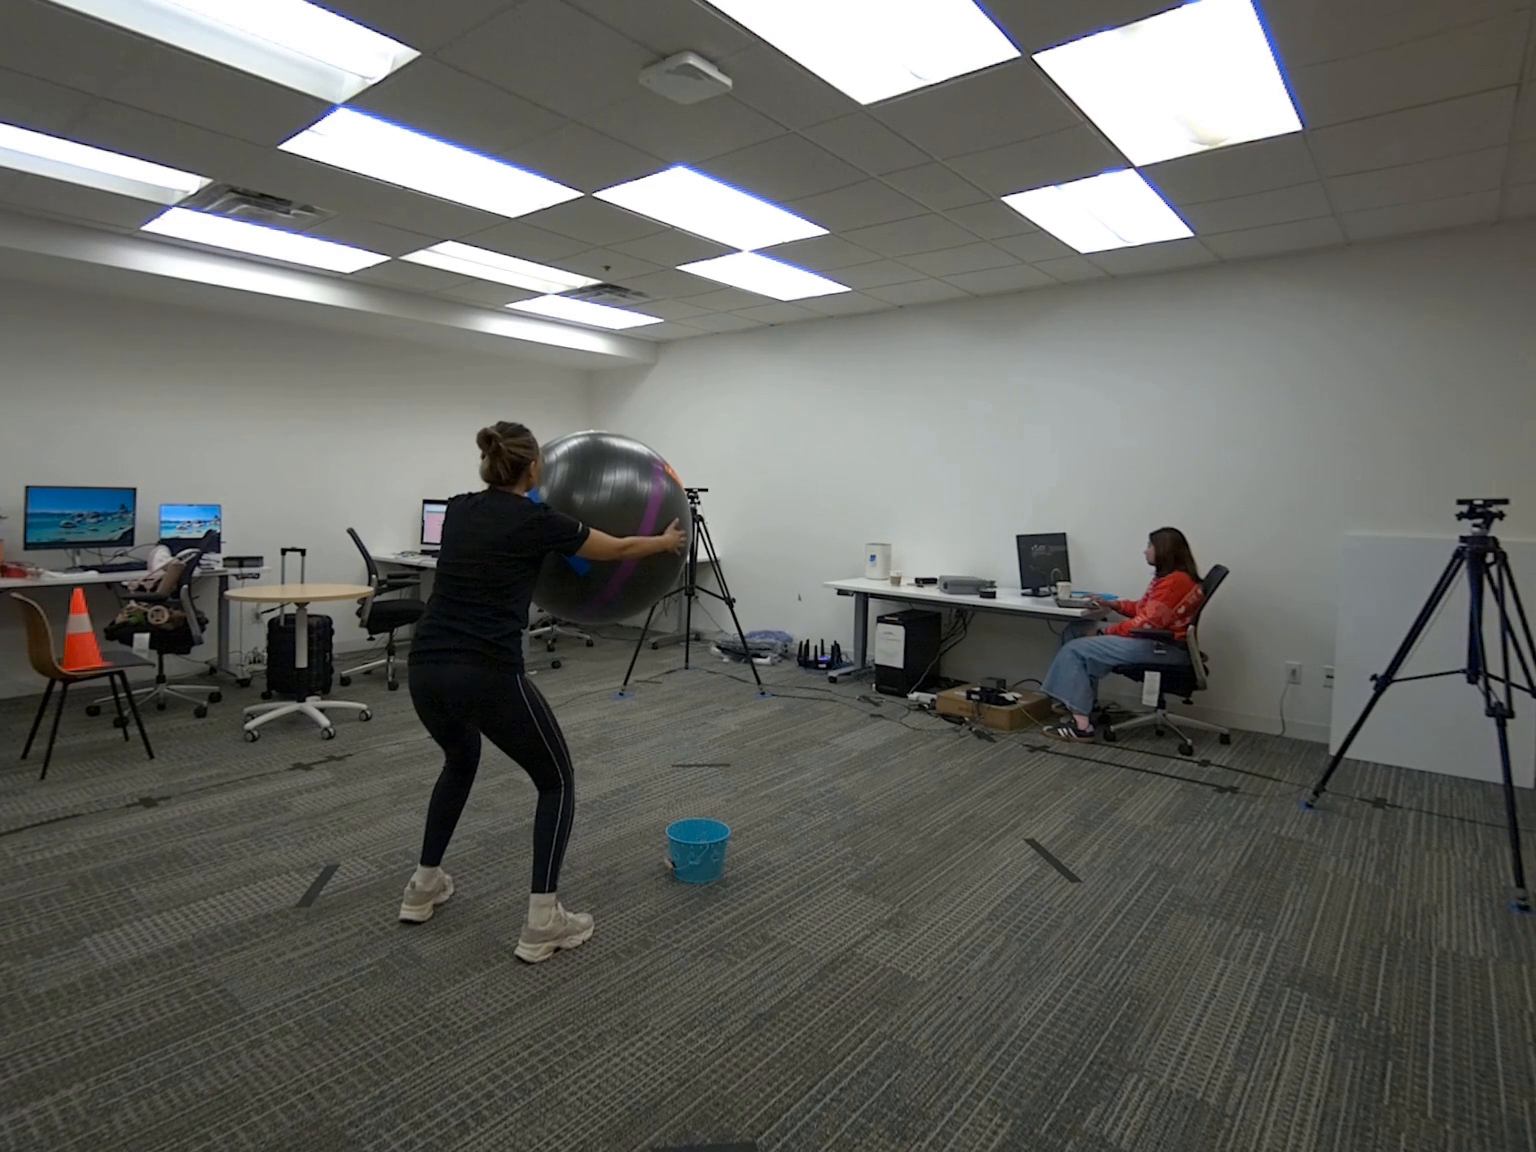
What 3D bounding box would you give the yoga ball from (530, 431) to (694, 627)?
[{"bbox_3d":[-0.693,-0.184,3.343,0.757,0.756,0.762,1,4,-2],"label":"yoga ball"}]
